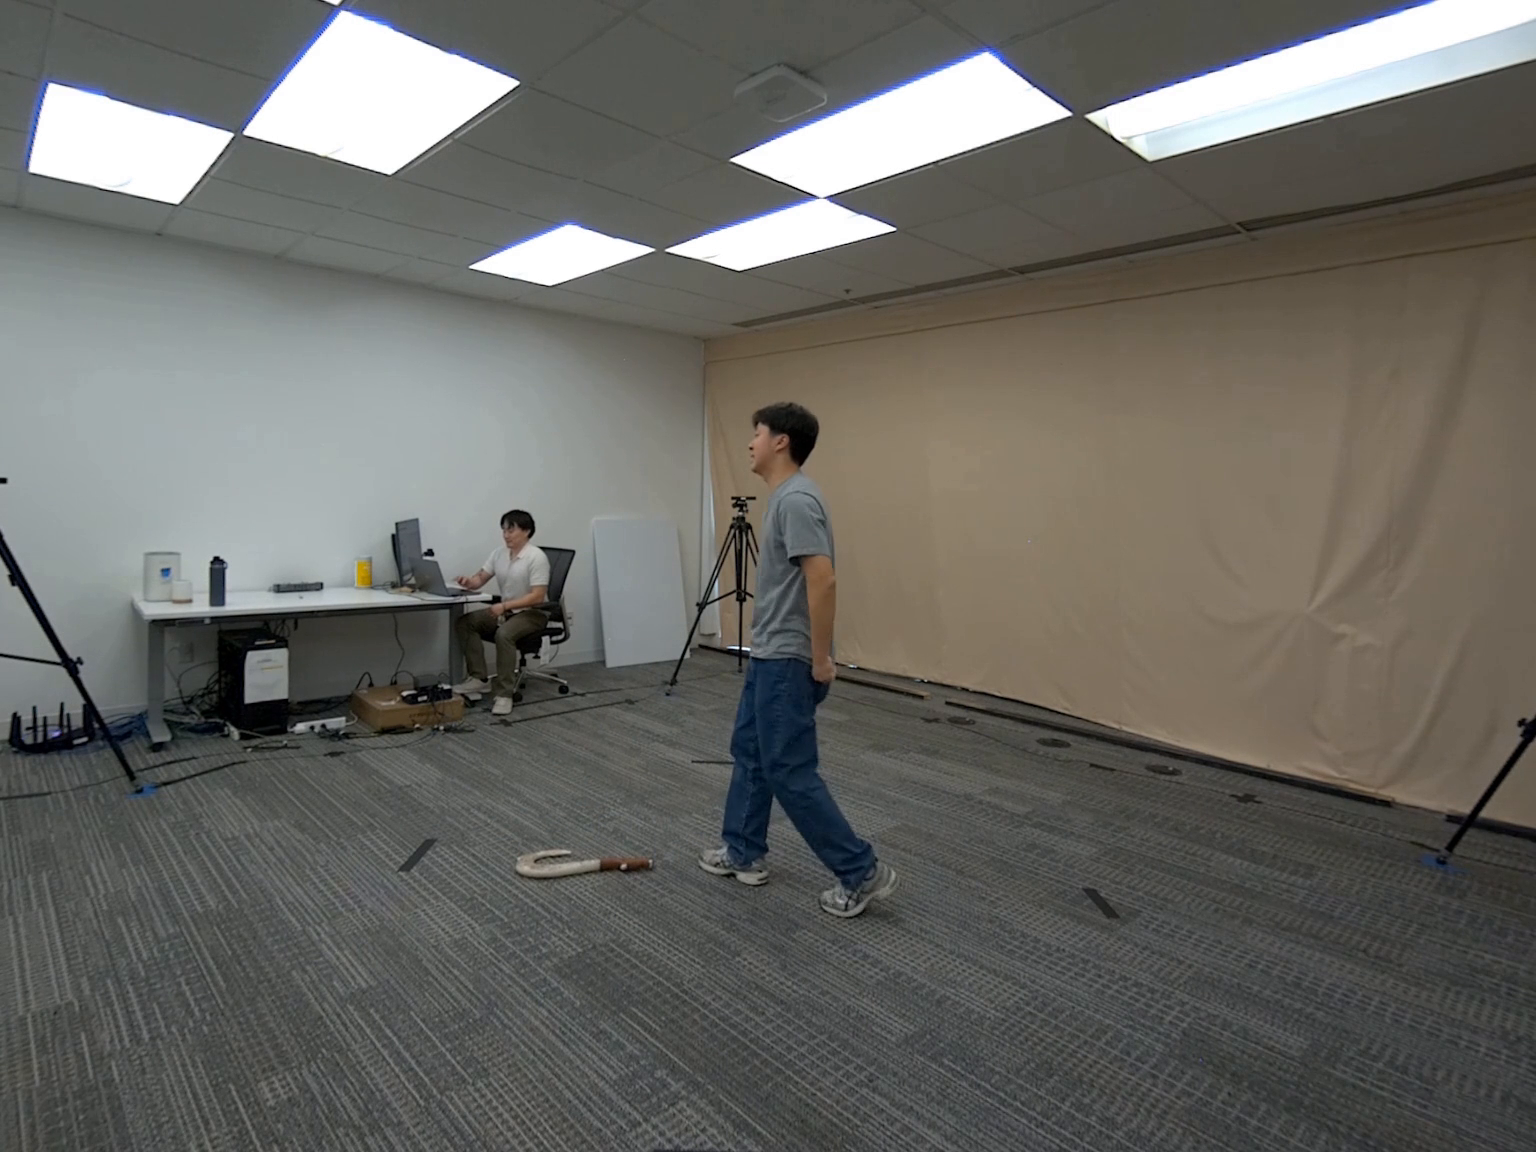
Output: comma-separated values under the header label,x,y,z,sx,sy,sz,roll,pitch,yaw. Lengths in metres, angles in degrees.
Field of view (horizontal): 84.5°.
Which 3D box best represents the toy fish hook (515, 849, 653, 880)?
label,x,y,z,sx,sy,sz,roll,pitch,yaw
toy fish hook,-0.688,1.061,3.154,0.503,0.048,0.227,1,7,-8
